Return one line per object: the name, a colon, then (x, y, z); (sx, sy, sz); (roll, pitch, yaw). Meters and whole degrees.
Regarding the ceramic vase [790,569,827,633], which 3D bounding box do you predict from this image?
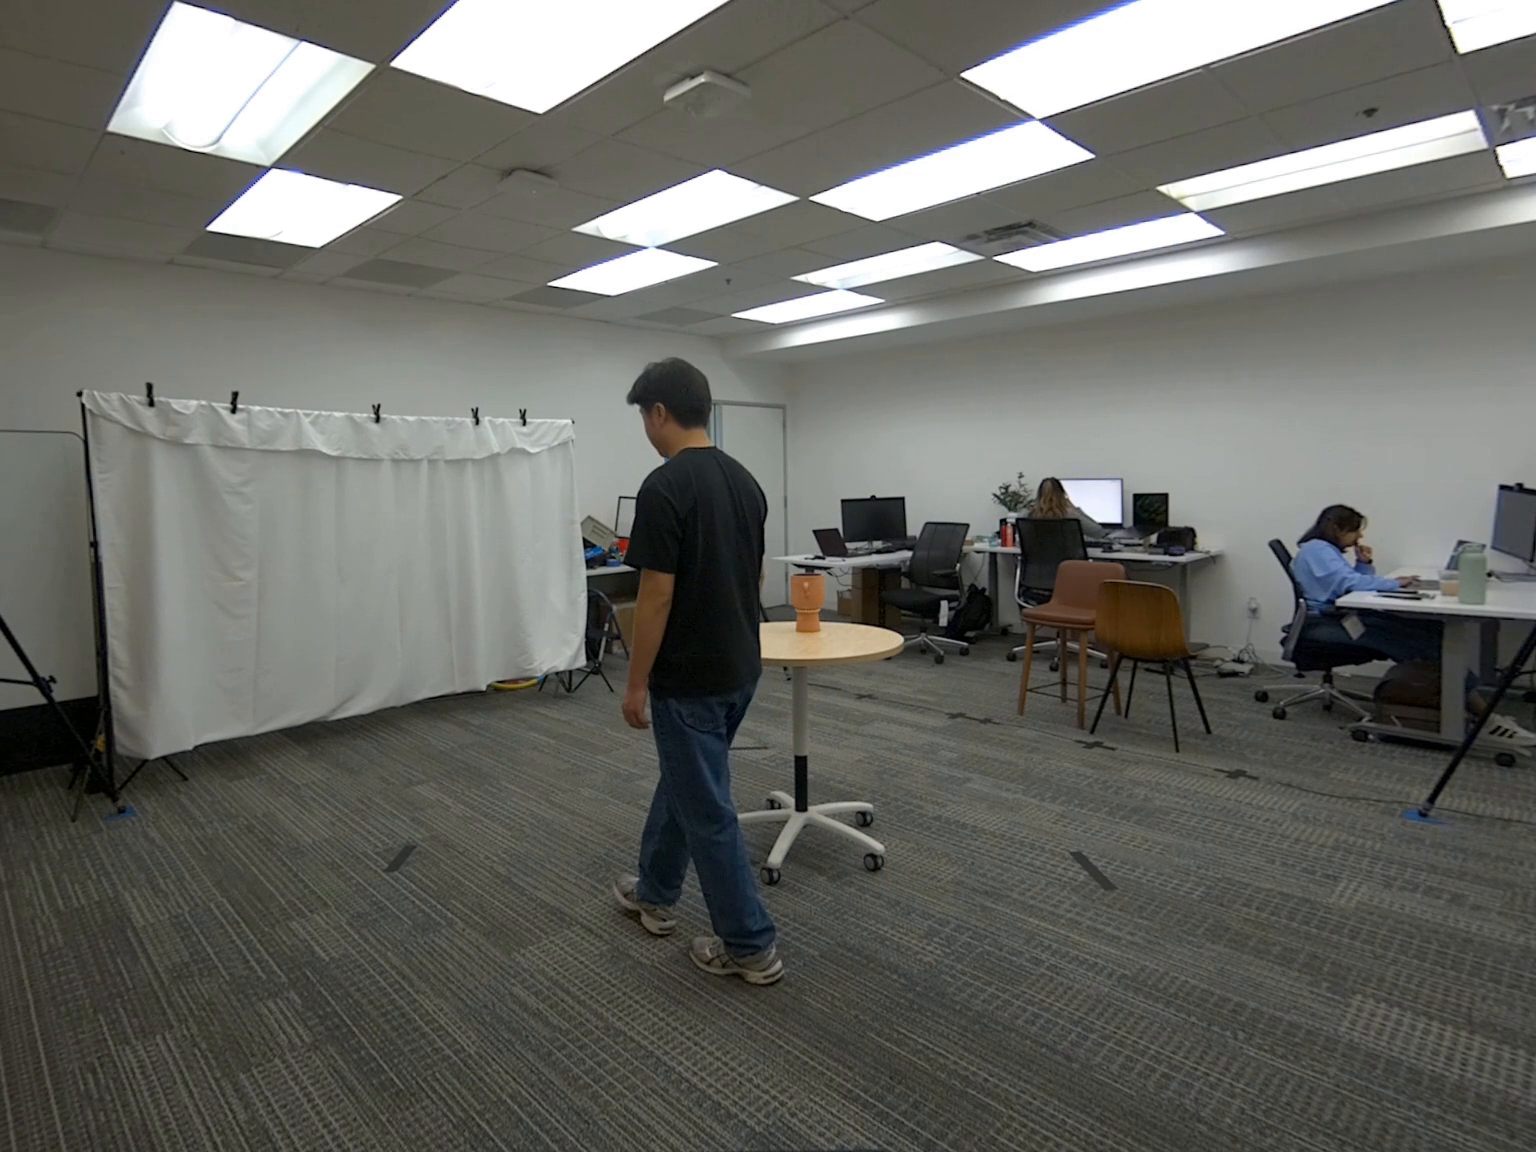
ceramic vase: (0.156, 0.105, 3.352); (0.155, 0.219, 0.138); (-6, 5, -43)
